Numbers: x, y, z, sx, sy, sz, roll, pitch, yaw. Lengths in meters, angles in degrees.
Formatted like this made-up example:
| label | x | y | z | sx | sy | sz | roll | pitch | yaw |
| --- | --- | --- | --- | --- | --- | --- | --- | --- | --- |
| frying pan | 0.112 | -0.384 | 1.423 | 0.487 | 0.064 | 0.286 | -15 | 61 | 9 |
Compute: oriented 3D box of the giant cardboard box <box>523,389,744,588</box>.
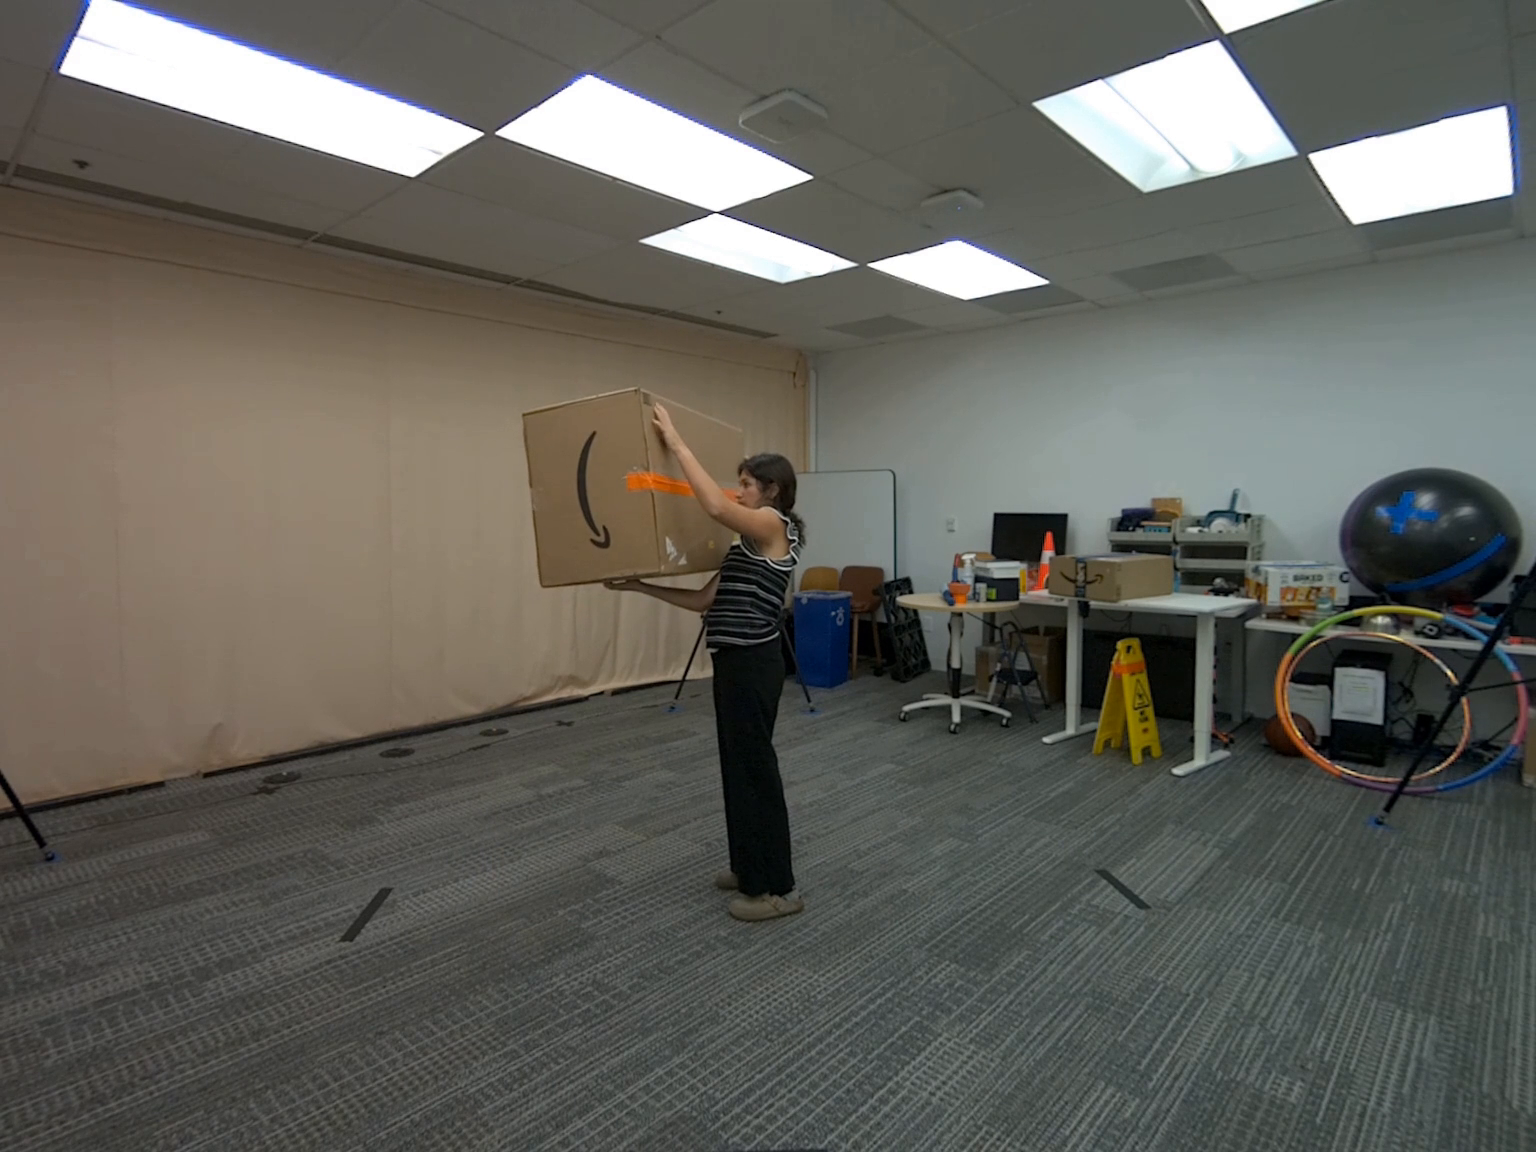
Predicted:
| label | x | y | z | sx | sy | sz | roll | pitch | yaw |
| --- | --- | --- | --- | --- | --- | --- | --- | --- | --- |
| giant cardboard box | -0.410 | -0.288 | 3.105 | 0.434 | 0.578 | 1.007 | -7 | 0 | 17 |
